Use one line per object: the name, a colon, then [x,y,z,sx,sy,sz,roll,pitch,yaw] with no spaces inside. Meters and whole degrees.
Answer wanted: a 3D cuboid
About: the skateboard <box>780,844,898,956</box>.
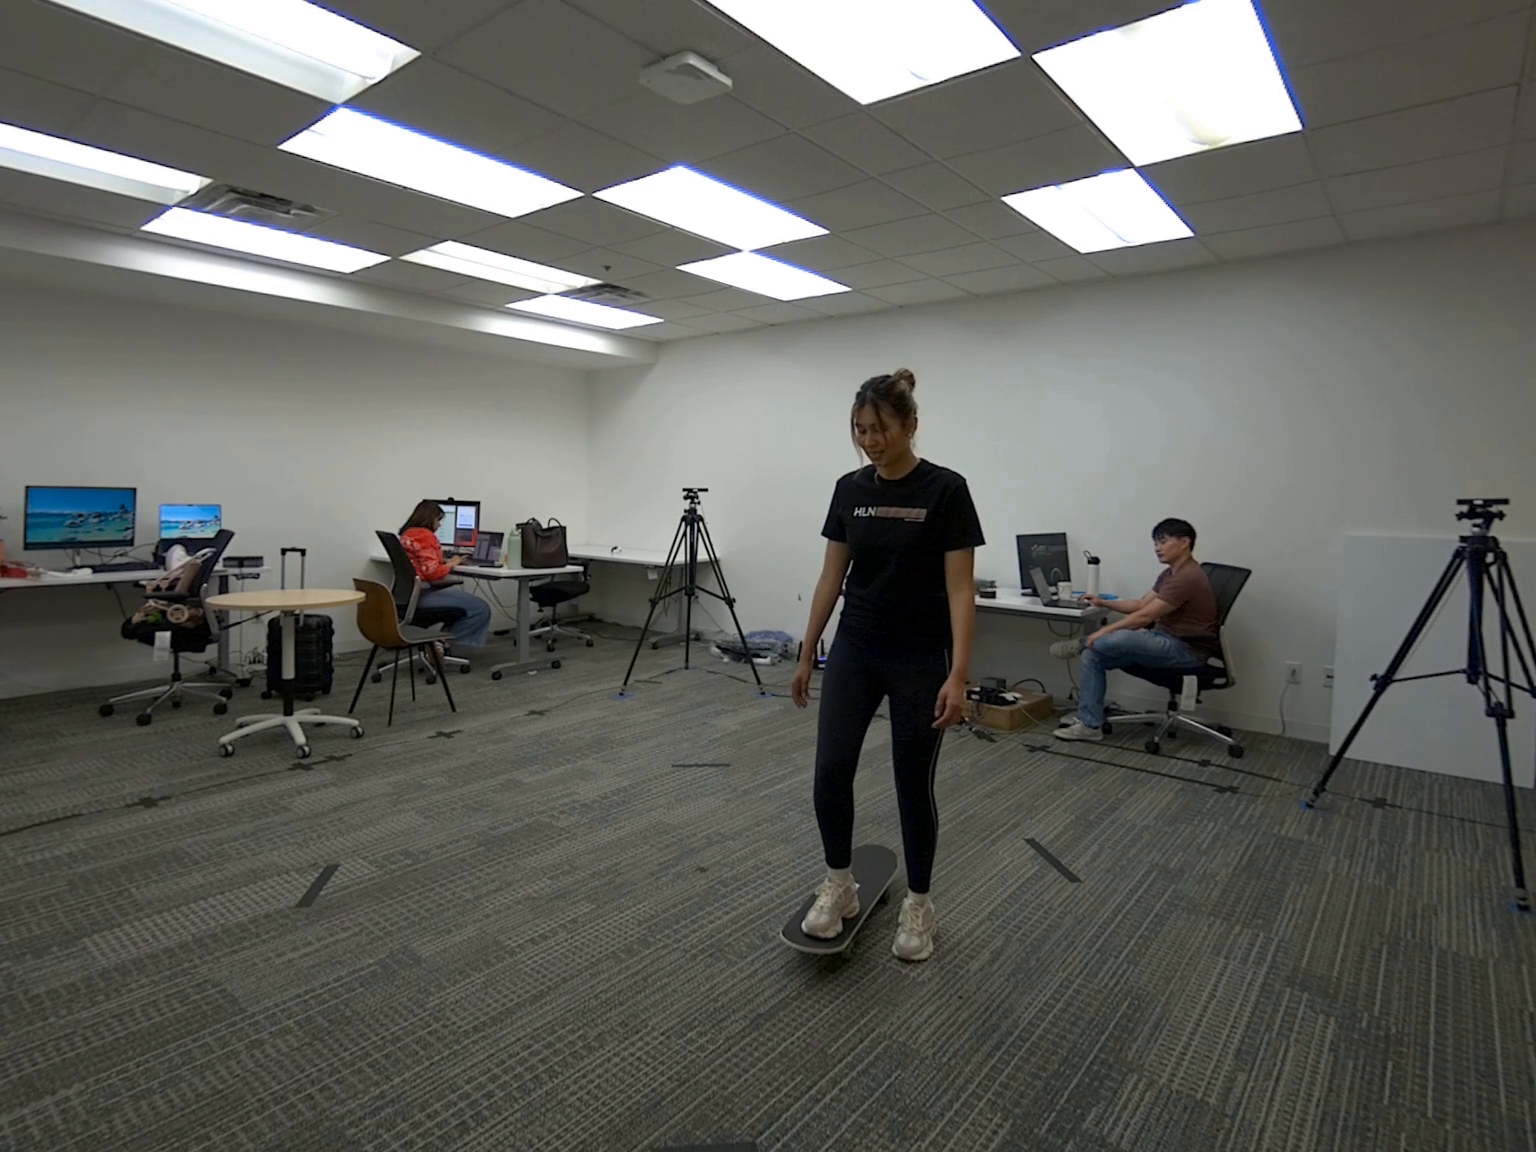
skateboard: [0.243,1.062,2.747,0.198,0.110,0.768,4,6,25]
